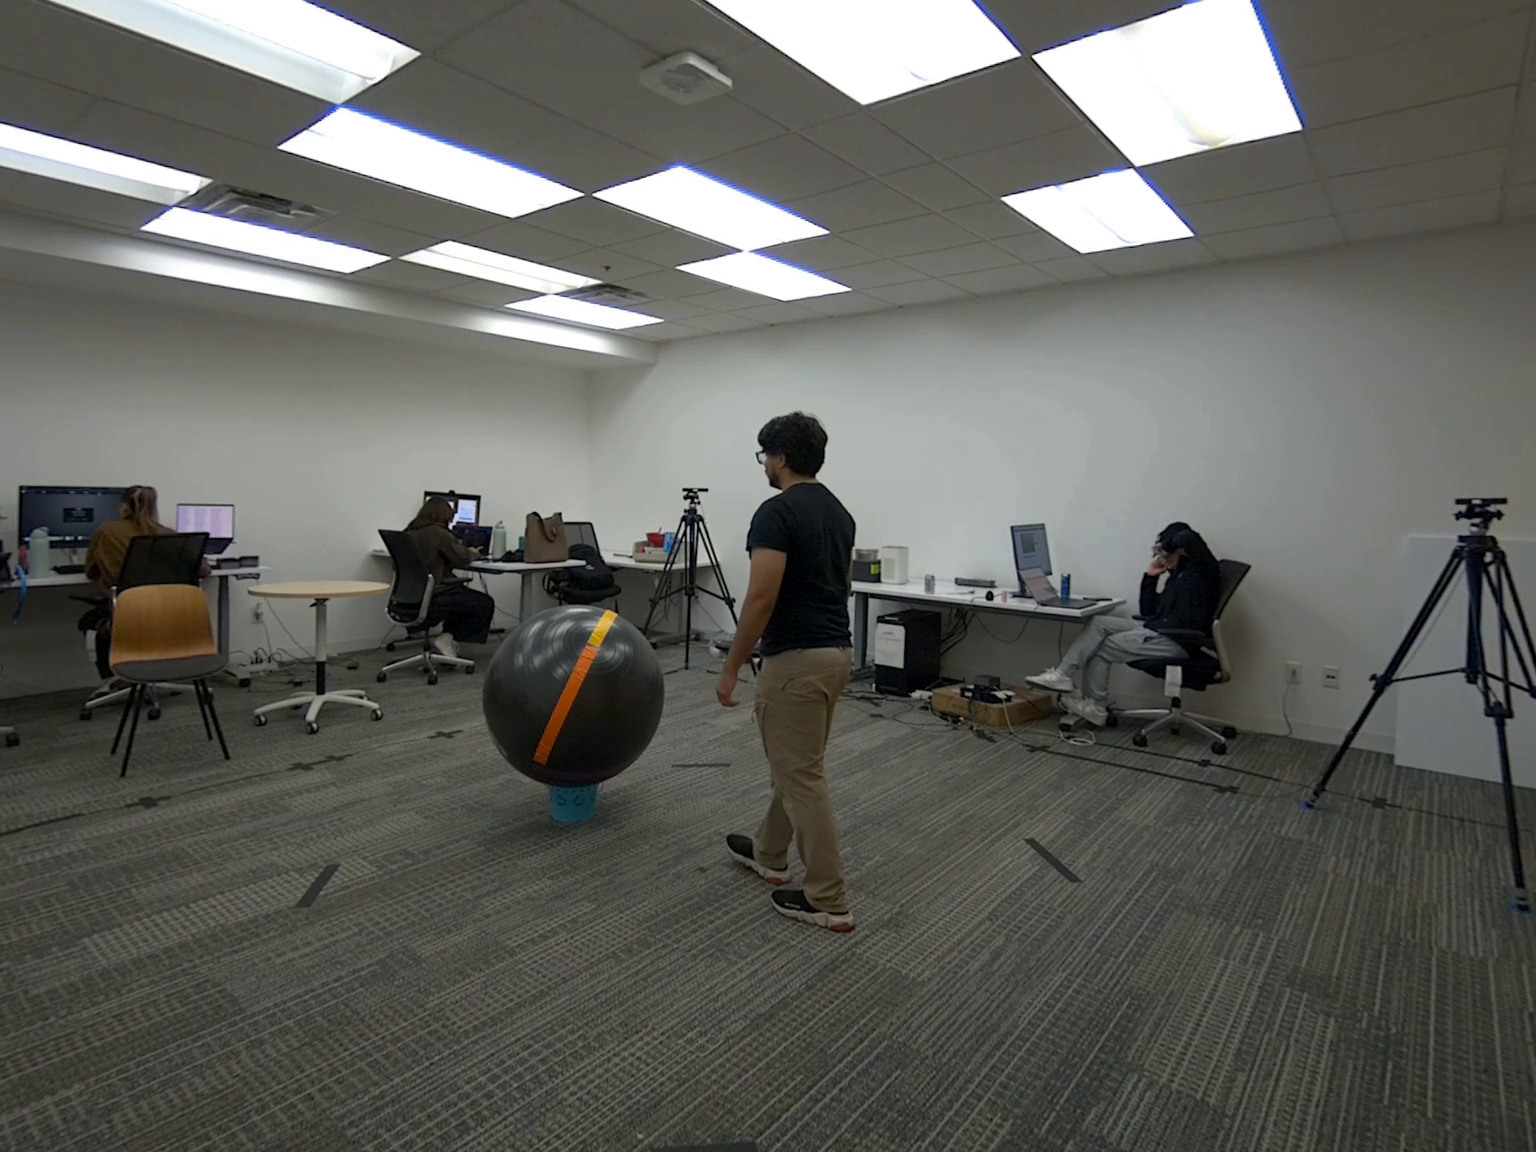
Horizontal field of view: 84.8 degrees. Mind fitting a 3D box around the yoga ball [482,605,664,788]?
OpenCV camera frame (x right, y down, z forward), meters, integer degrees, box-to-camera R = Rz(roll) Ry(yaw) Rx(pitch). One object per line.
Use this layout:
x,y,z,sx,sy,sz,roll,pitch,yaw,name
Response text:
-0.828,0.502,3.598,0.757,0.755,0.762,1,4,-2,yoga ball
